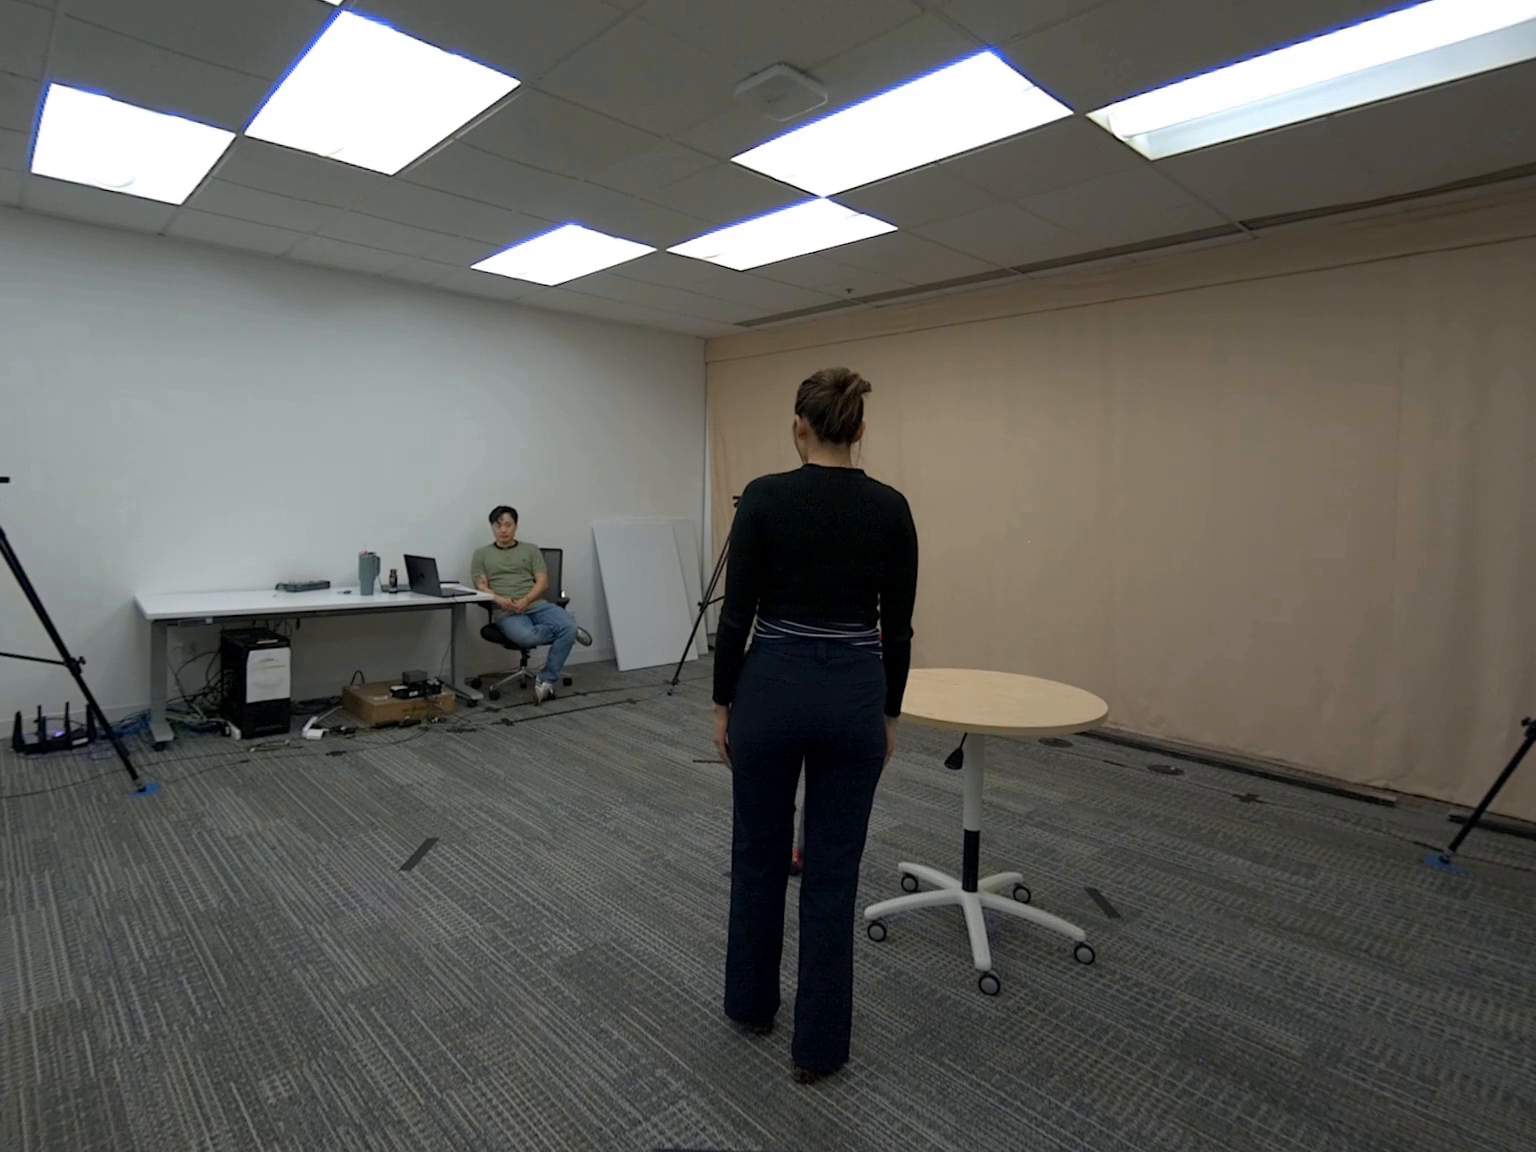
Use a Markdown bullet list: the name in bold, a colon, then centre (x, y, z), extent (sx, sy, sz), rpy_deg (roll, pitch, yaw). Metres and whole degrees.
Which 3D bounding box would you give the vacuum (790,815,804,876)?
- **vacuum**: centre (0.250, 0.637, 3.034), extent (0.148, 1.041, 0.247), rpy_deg (33, 22, 35)
